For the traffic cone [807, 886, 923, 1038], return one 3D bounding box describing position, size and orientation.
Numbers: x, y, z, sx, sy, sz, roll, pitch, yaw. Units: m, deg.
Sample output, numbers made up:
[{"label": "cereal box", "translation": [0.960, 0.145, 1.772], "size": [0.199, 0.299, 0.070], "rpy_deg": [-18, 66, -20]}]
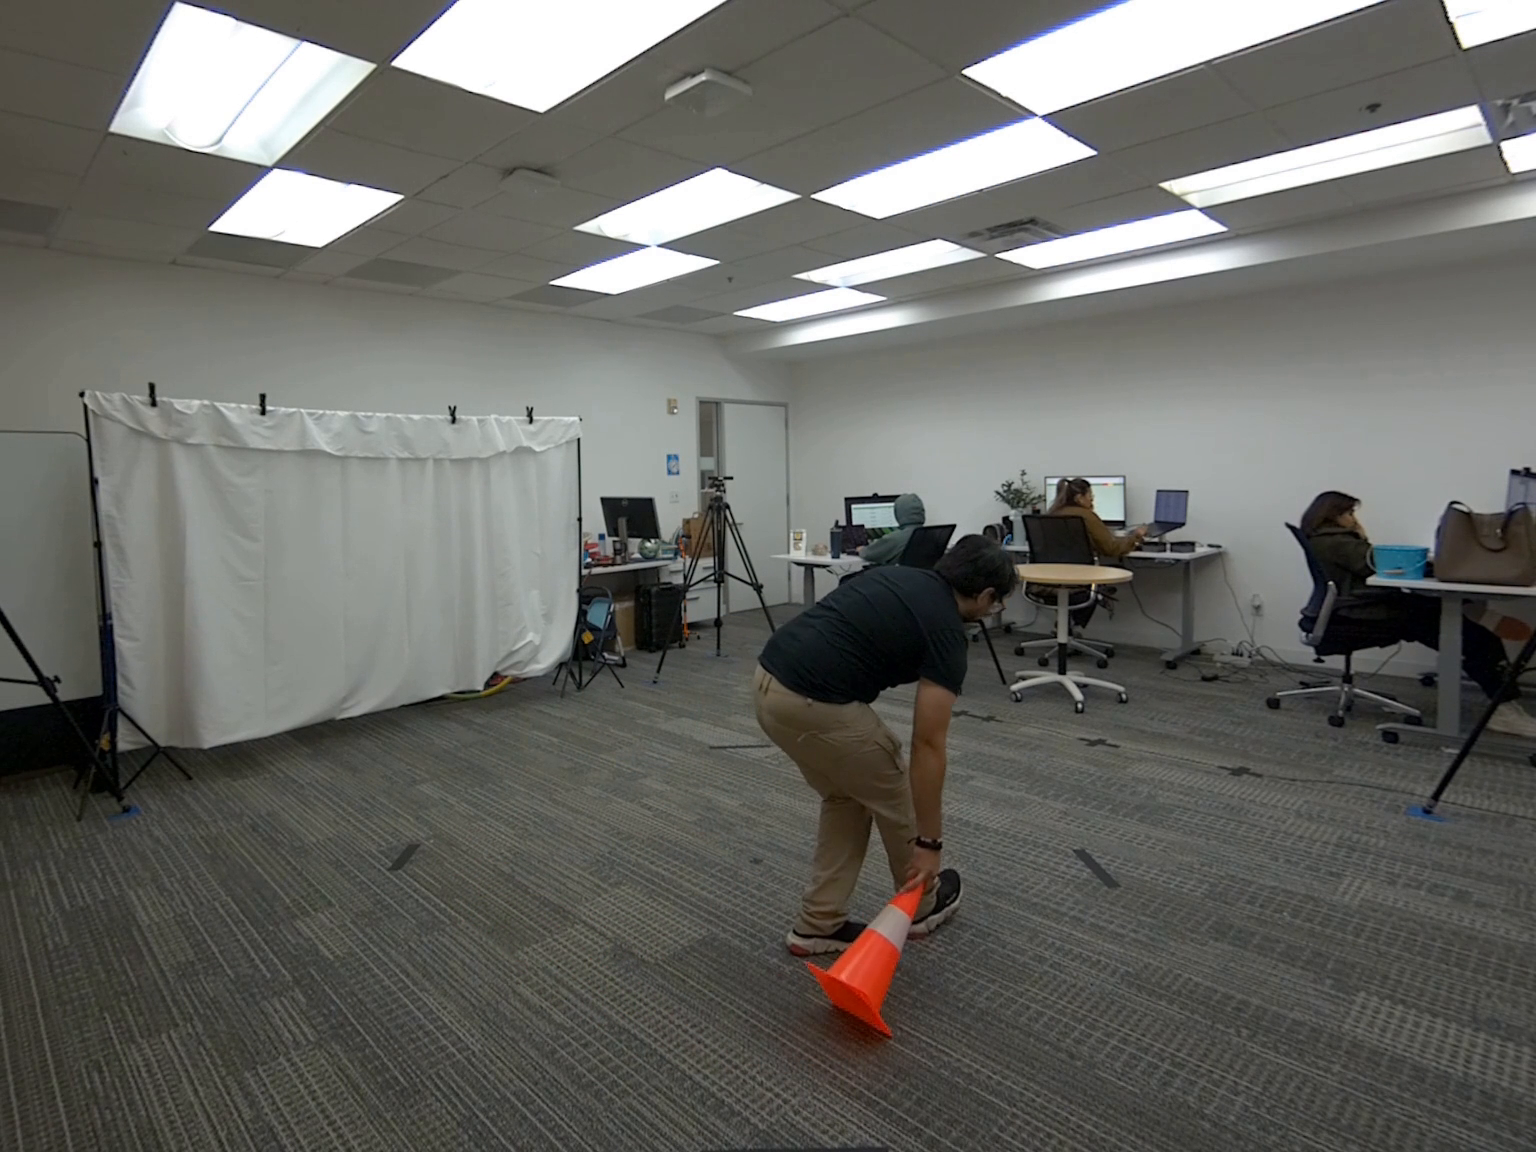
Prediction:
[{"label": "traffic cone", "translation": [0.315, 0.952, 2.246], "size": [0.209, 0.199, 0.384], "rpy_deg": [0, 40, 46]}]
